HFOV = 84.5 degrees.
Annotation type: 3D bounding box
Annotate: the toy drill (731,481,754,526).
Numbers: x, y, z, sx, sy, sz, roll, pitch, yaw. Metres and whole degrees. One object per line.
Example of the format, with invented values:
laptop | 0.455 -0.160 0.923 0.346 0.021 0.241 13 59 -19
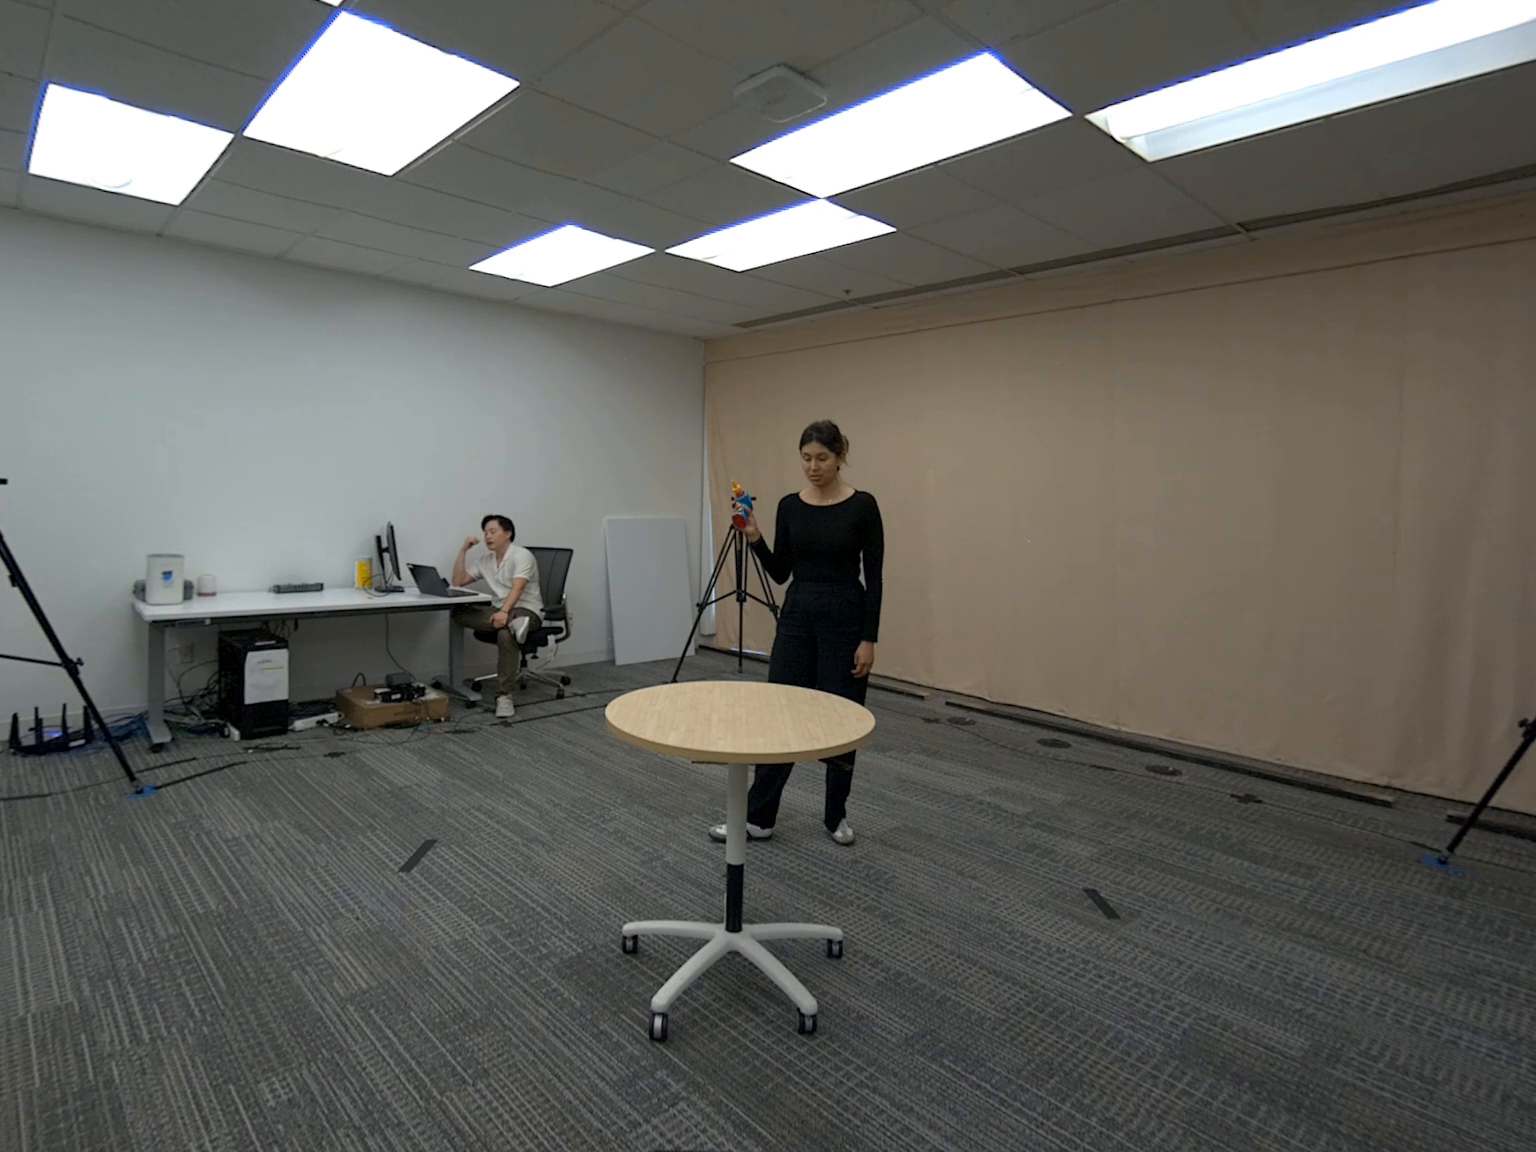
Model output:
toy drill | -0.112 -0.290 3.341 0.062 0.165 0.148 -10 36 20
